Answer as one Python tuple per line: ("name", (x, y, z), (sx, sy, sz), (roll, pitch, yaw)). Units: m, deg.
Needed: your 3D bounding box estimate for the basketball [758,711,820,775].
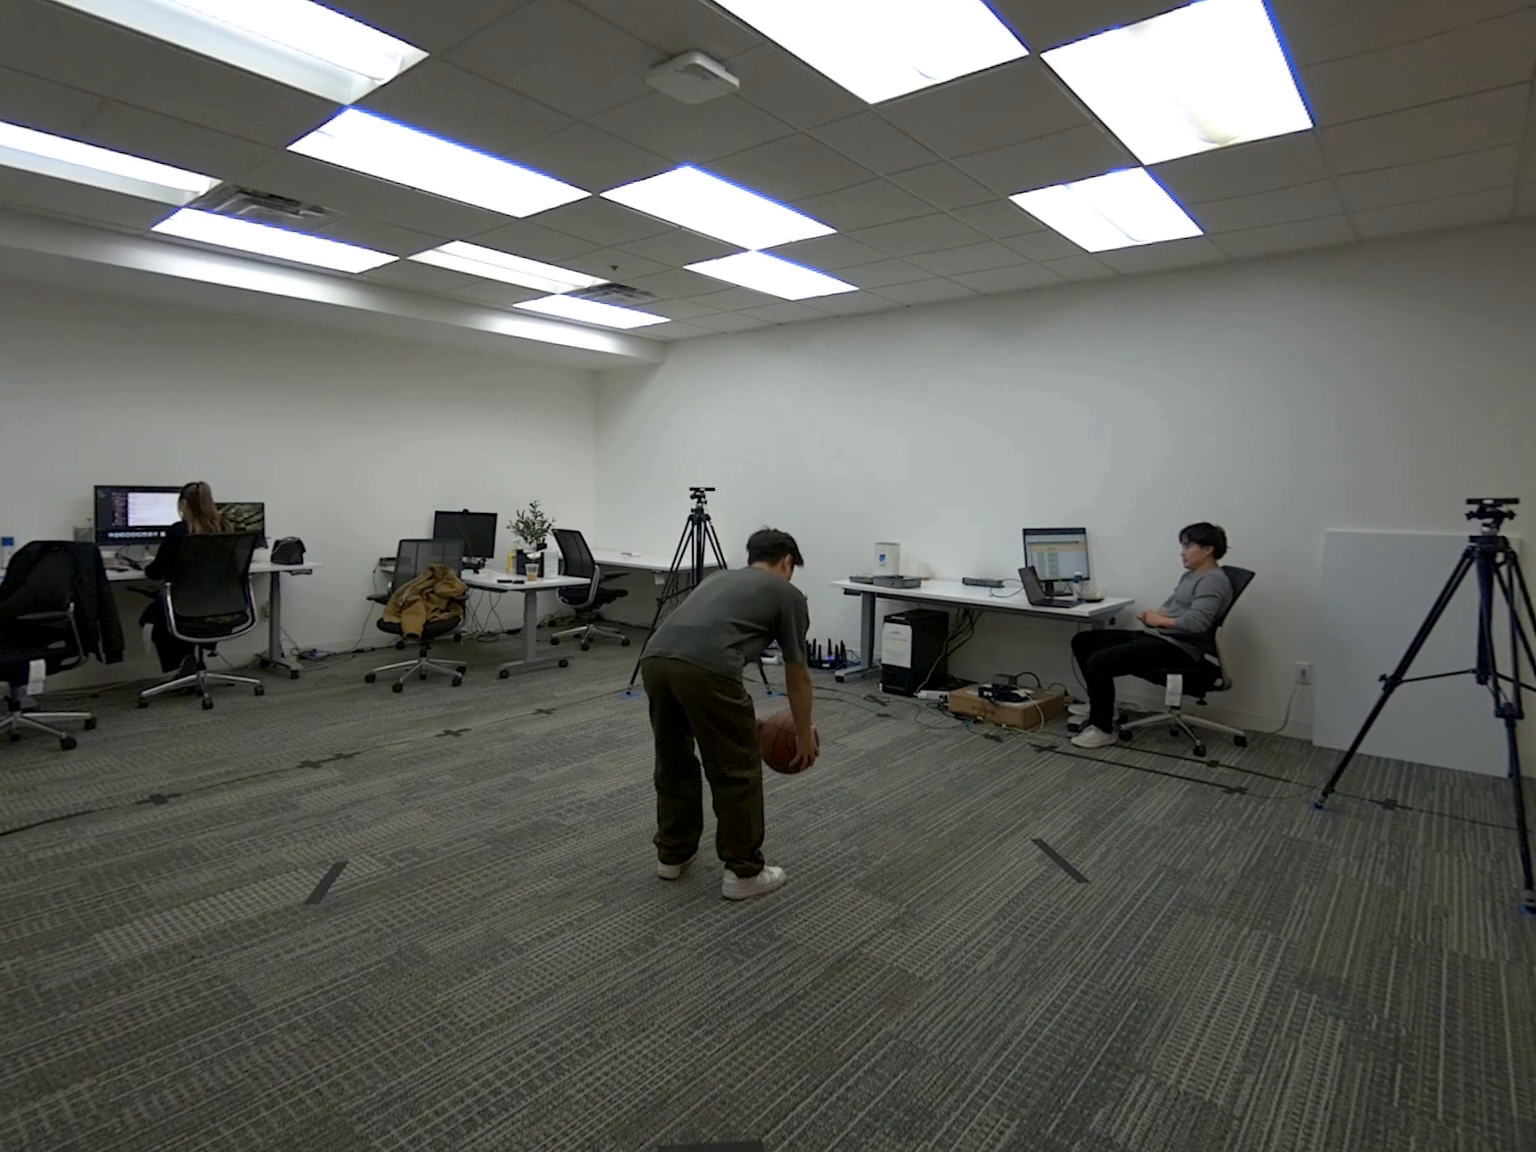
("basketball", (0.074, 0.639, 3.309), (0.235, 0.235, 0.237), (1, 4, -2))
